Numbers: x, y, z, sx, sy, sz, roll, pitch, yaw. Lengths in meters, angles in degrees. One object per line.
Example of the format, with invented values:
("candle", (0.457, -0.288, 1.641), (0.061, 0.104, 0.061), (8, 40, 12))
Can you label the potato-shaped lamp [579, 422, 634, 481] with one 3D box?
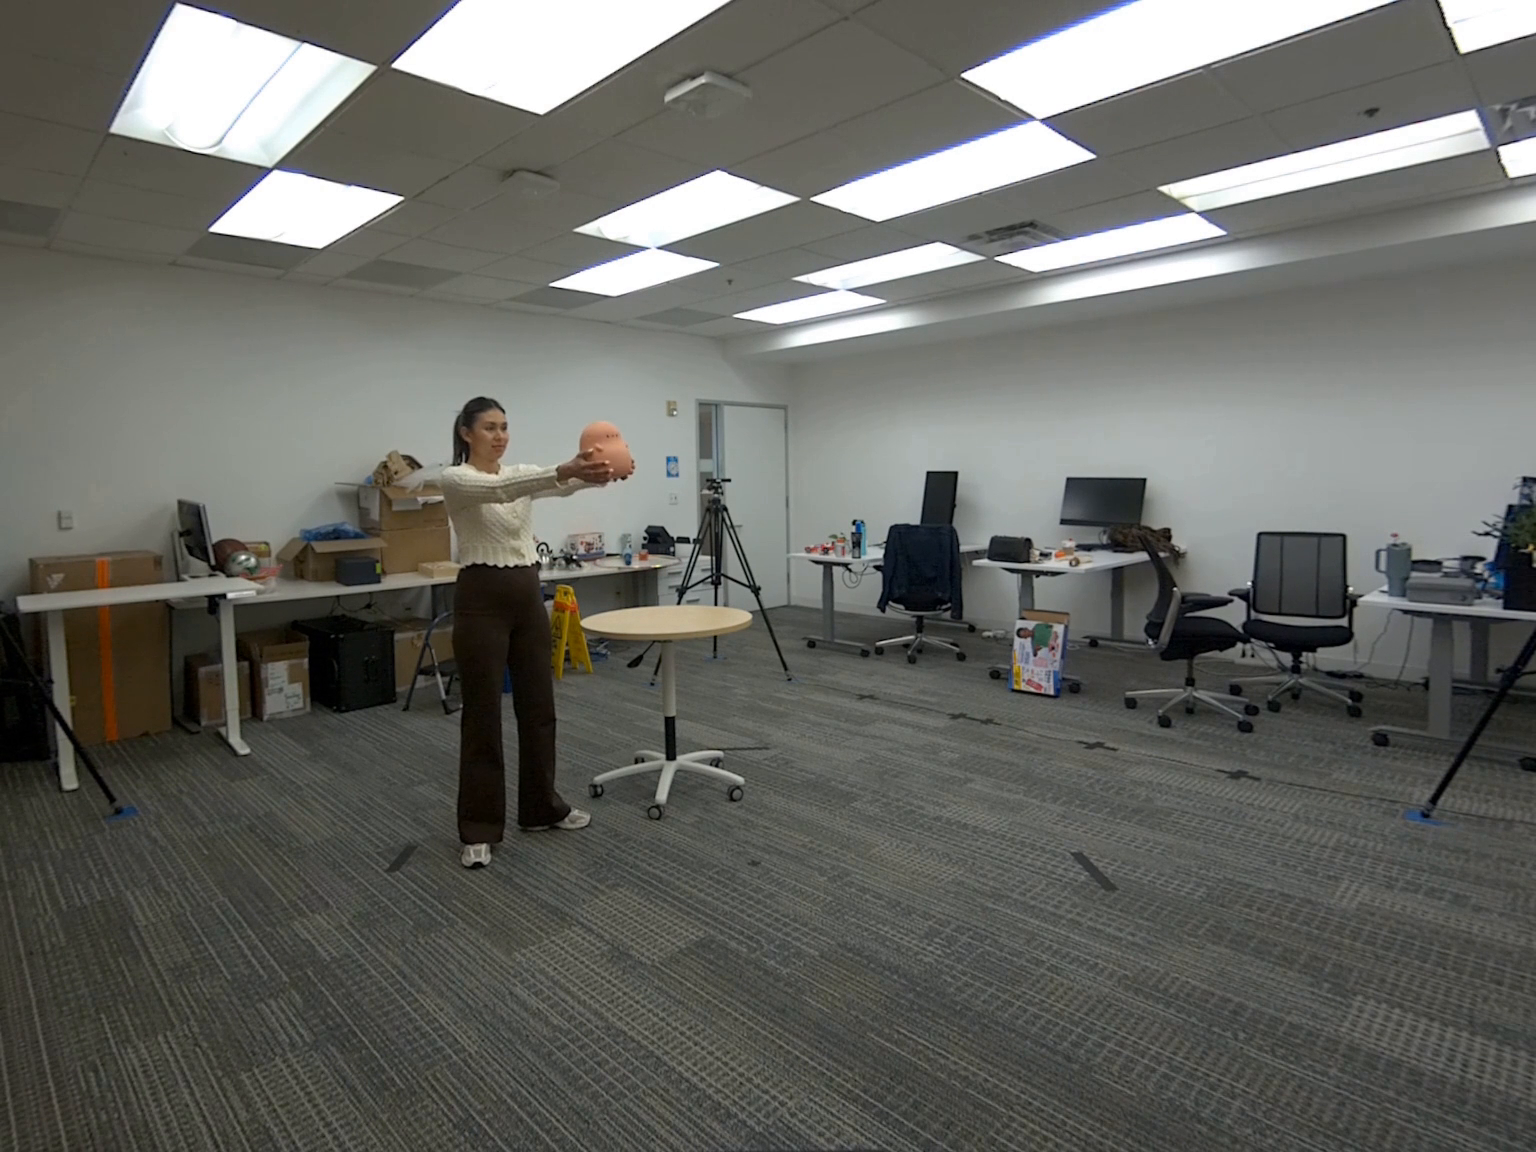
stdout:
("potato-shaped lamp", (-0.554, -0.419, 2.877), (0.161, 0.197, 0.176), (-11, 9, -42))
